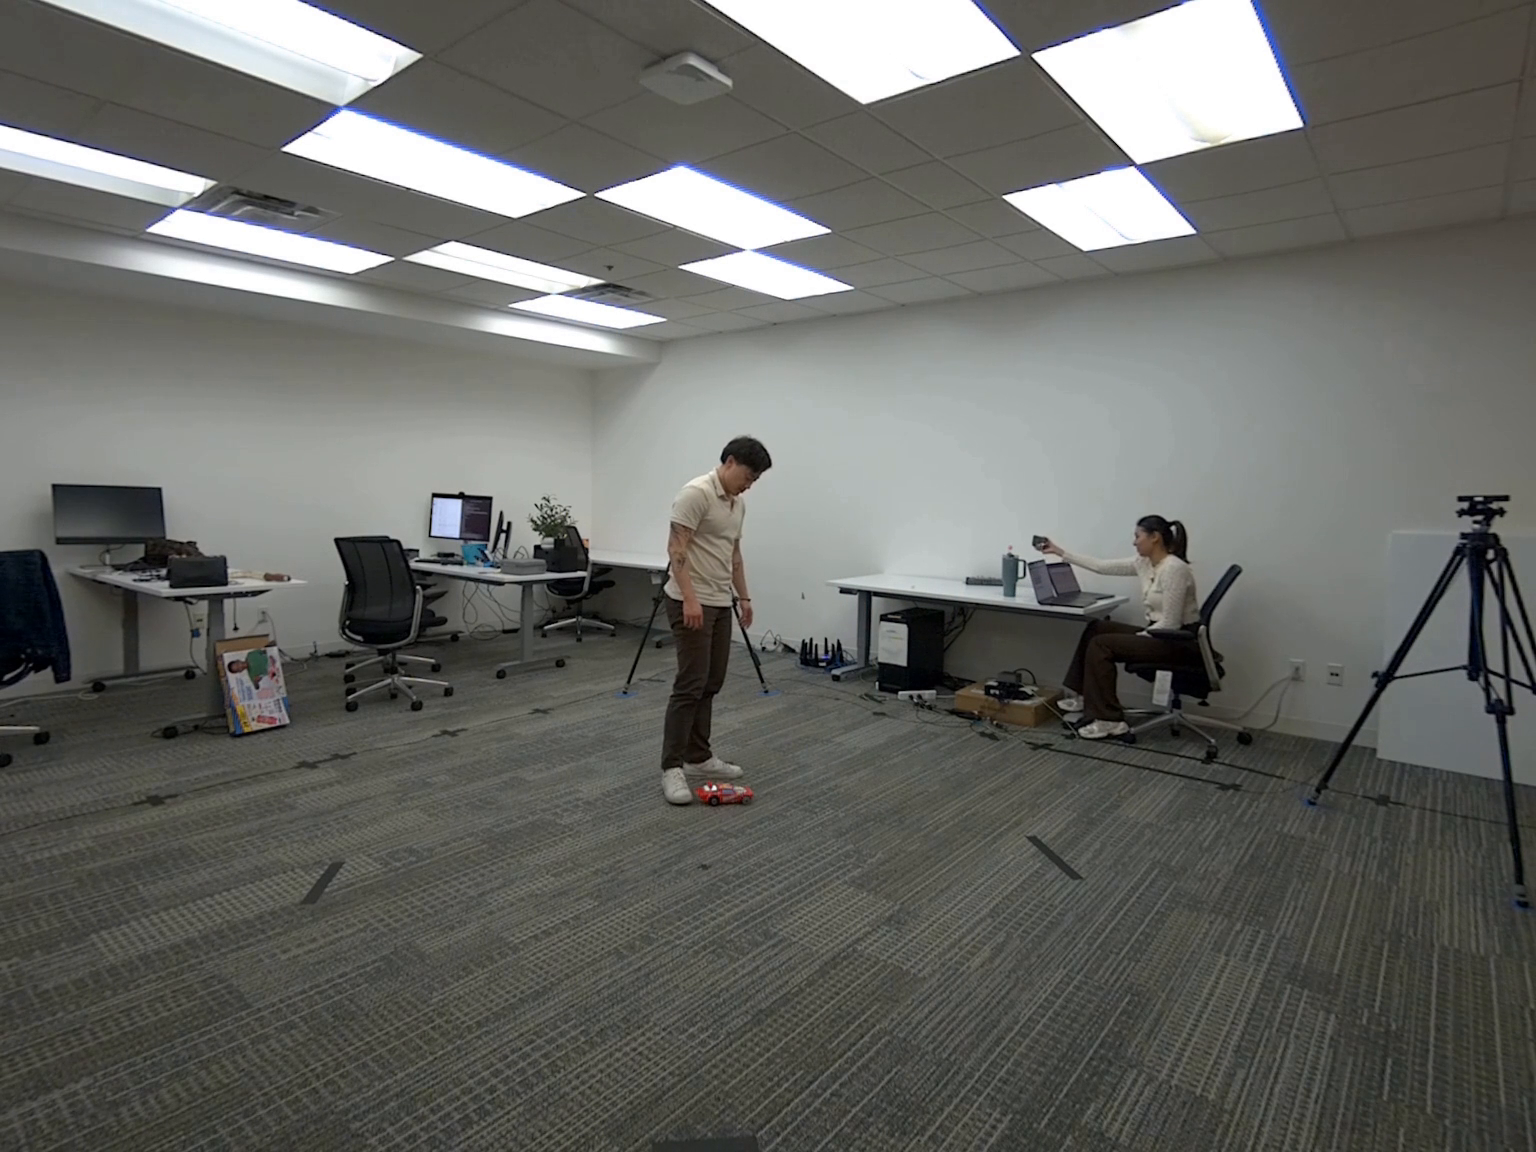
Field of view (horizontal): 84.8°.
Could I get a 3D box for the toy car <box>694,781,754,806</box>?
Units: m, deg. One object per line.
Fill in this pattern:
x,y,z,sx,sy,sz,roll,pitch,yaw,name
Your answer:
-0.210,0.969,3.776,0.251,0.083,0.132,10,4,-13,toy car
